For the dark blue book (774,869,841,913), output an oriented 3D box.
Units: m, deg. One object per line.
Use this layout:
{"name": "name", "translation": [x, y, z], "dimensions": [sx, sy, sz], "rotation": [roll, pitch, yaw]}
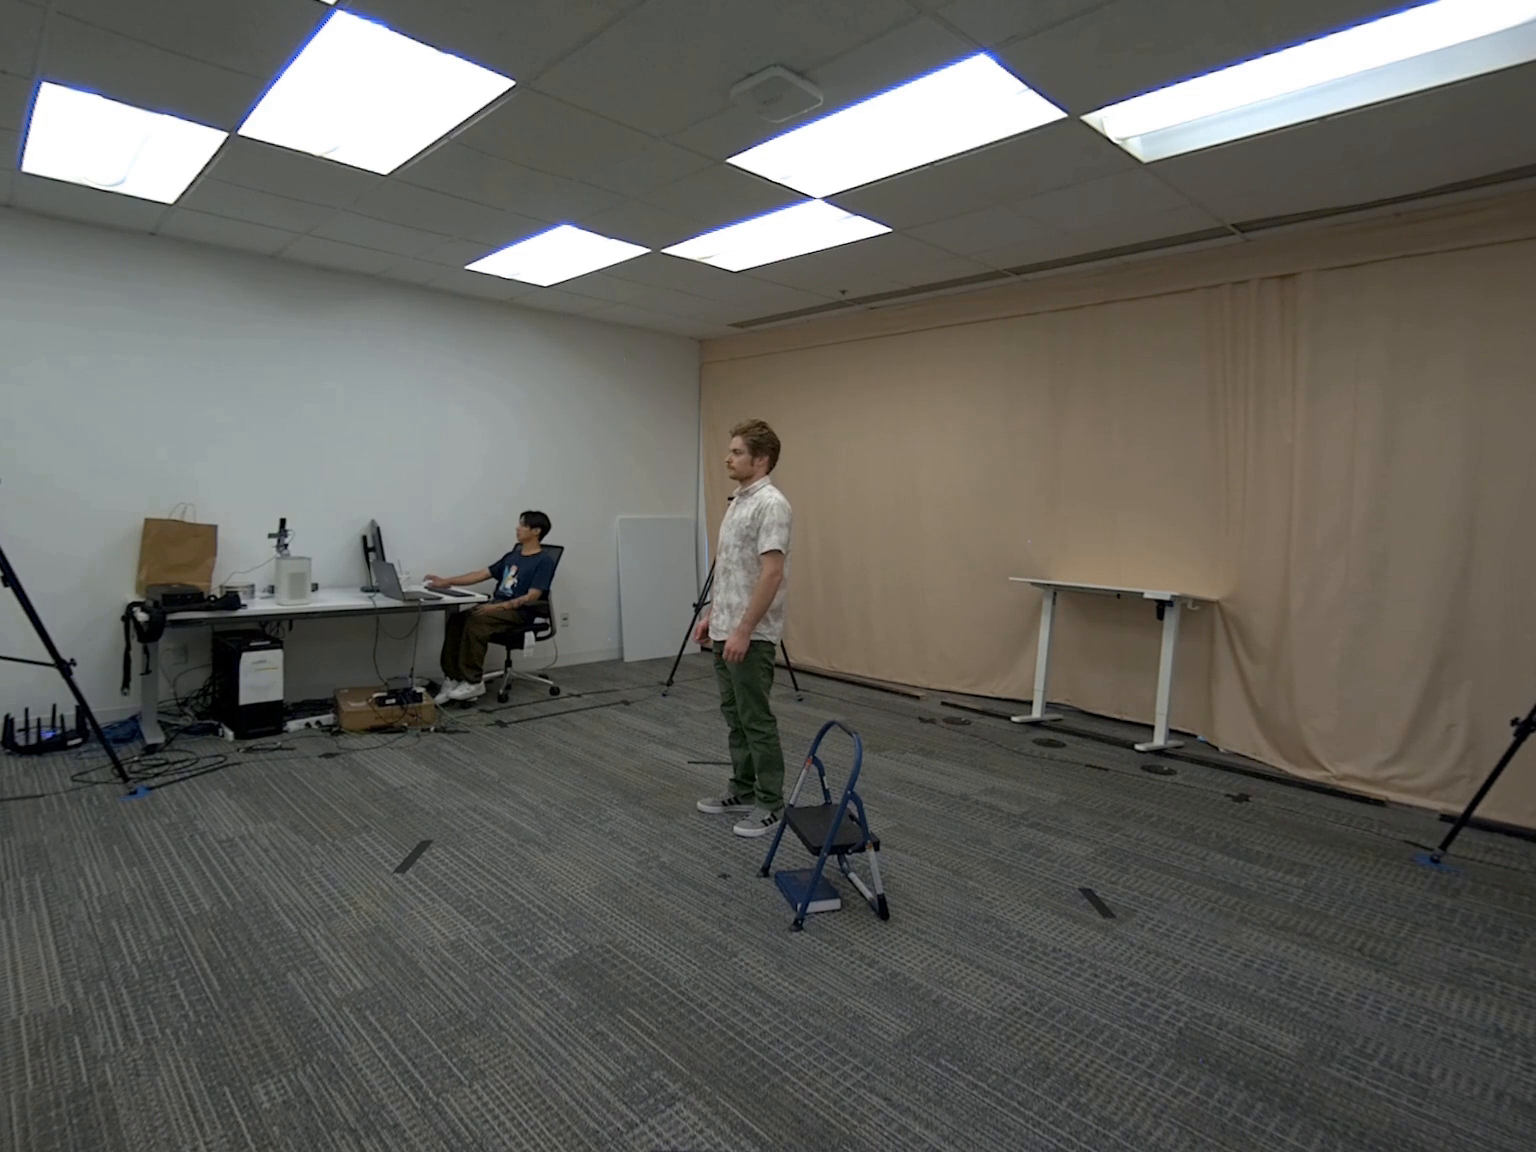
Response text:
{"name": "dark blue book", "translation": [0.139, 1.105, 2.947], "dimensions": [0.161, 0.045, 0.249], "rotation": [-1, 5, -17]}
